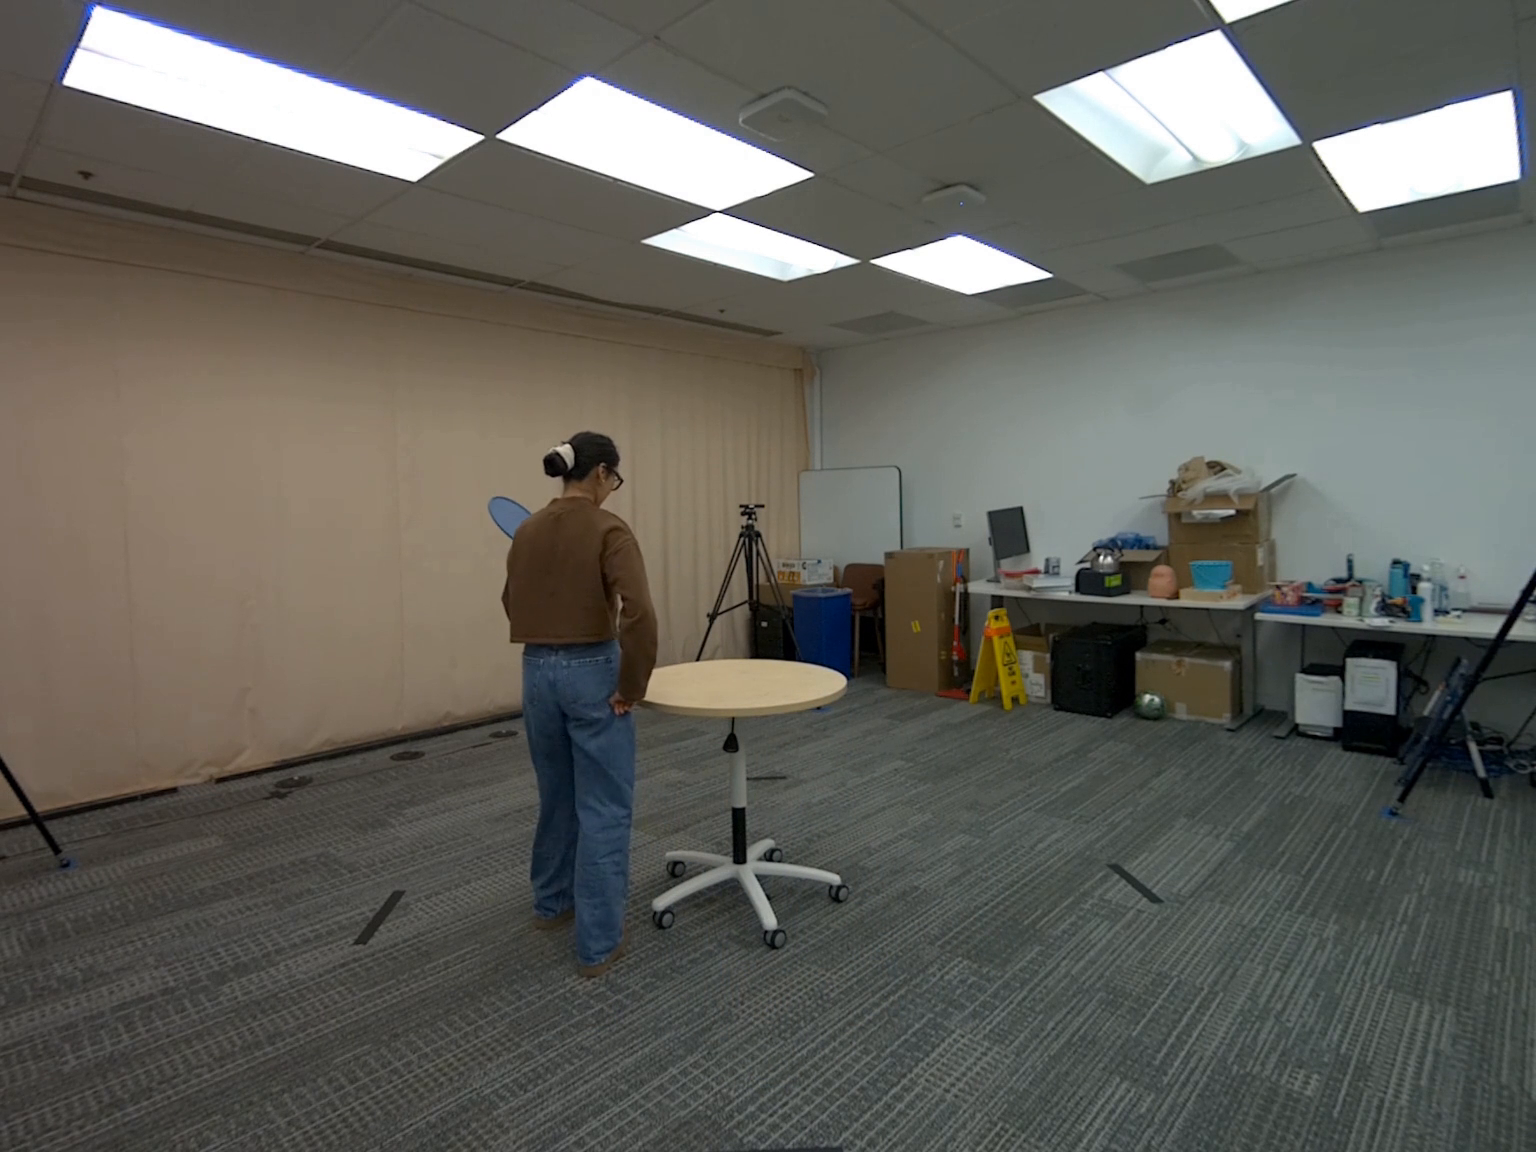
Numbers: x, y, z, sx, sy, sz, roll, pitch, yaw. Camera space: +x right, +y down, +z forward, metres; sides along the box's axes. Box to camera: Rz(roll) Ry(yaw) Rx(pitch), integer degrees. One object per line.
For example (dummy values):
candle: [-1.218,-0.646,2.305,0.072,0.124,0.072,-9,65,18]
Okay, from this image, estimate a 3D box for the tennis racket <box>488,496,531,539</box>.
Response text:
tennis racket: [-0.846,-0.130,2.999,0.032,0.441,0.209,-46,-16,21]
